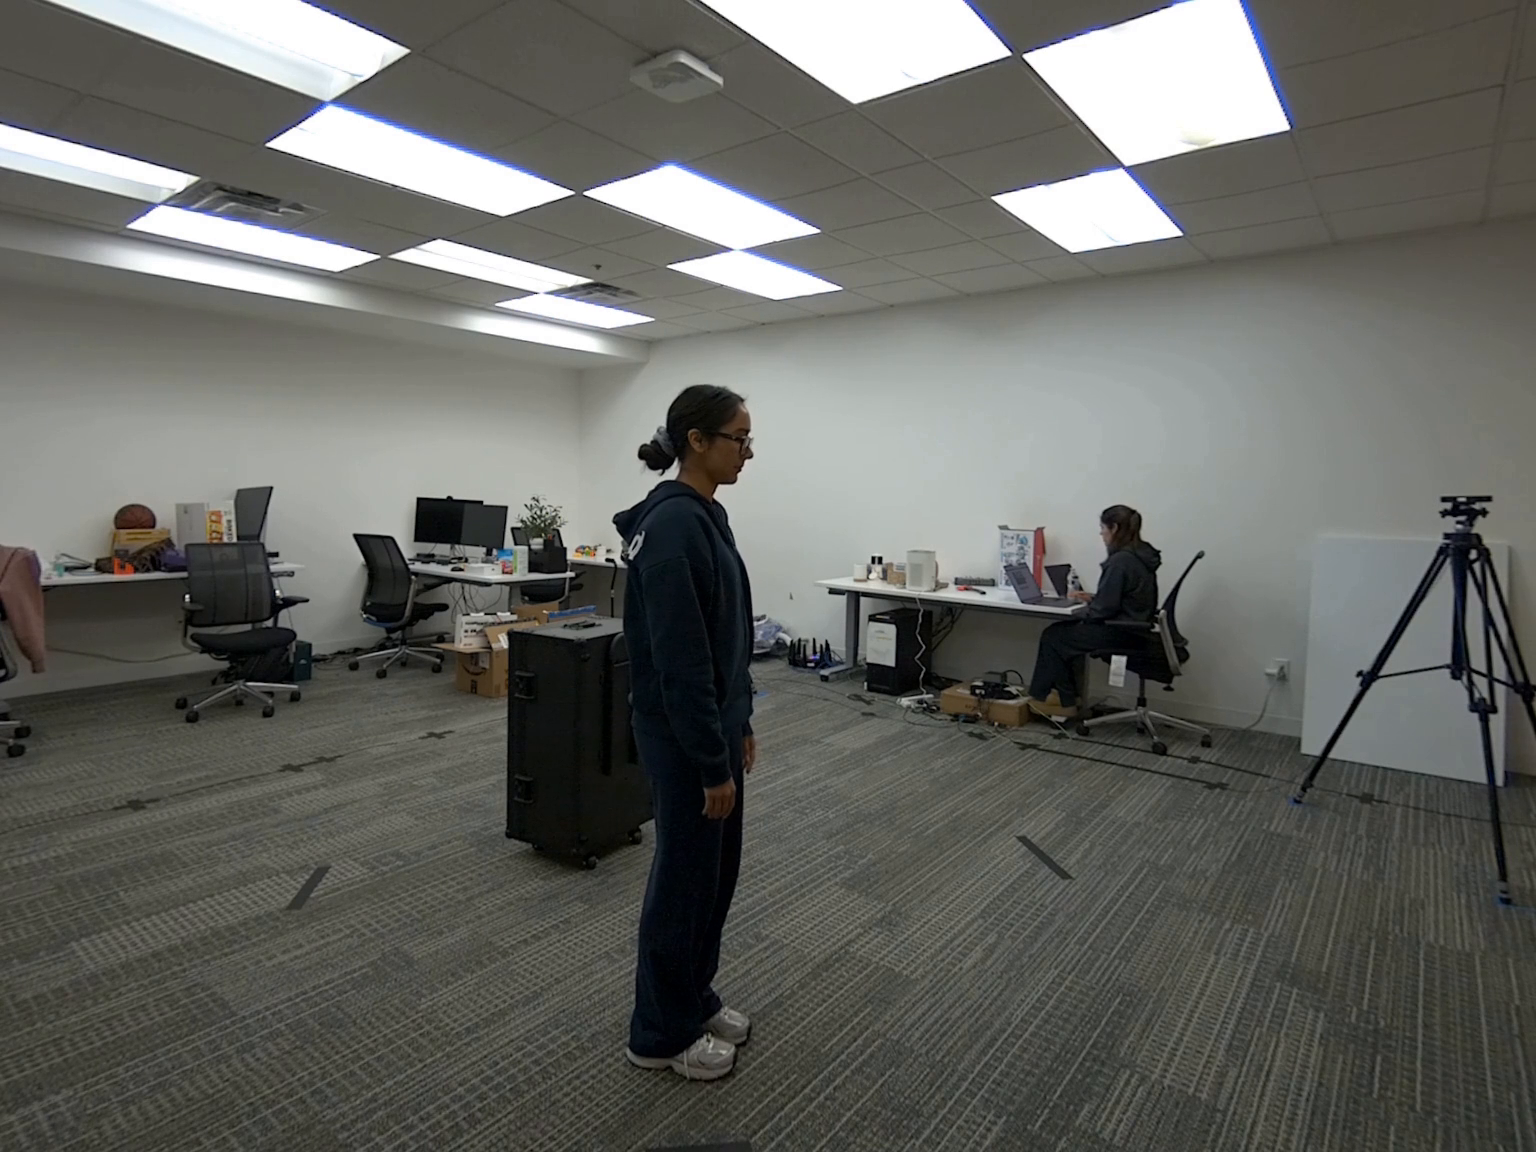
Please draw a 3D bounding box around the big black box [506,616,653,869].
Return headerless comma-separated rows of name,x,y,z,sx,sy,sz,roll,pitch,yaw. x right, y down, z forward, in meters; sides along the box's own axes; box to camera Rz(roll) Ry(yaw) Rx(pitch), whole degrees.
big black box,-0.720,0.626,3.273,0.537,0.859,0.386,3,4,30
